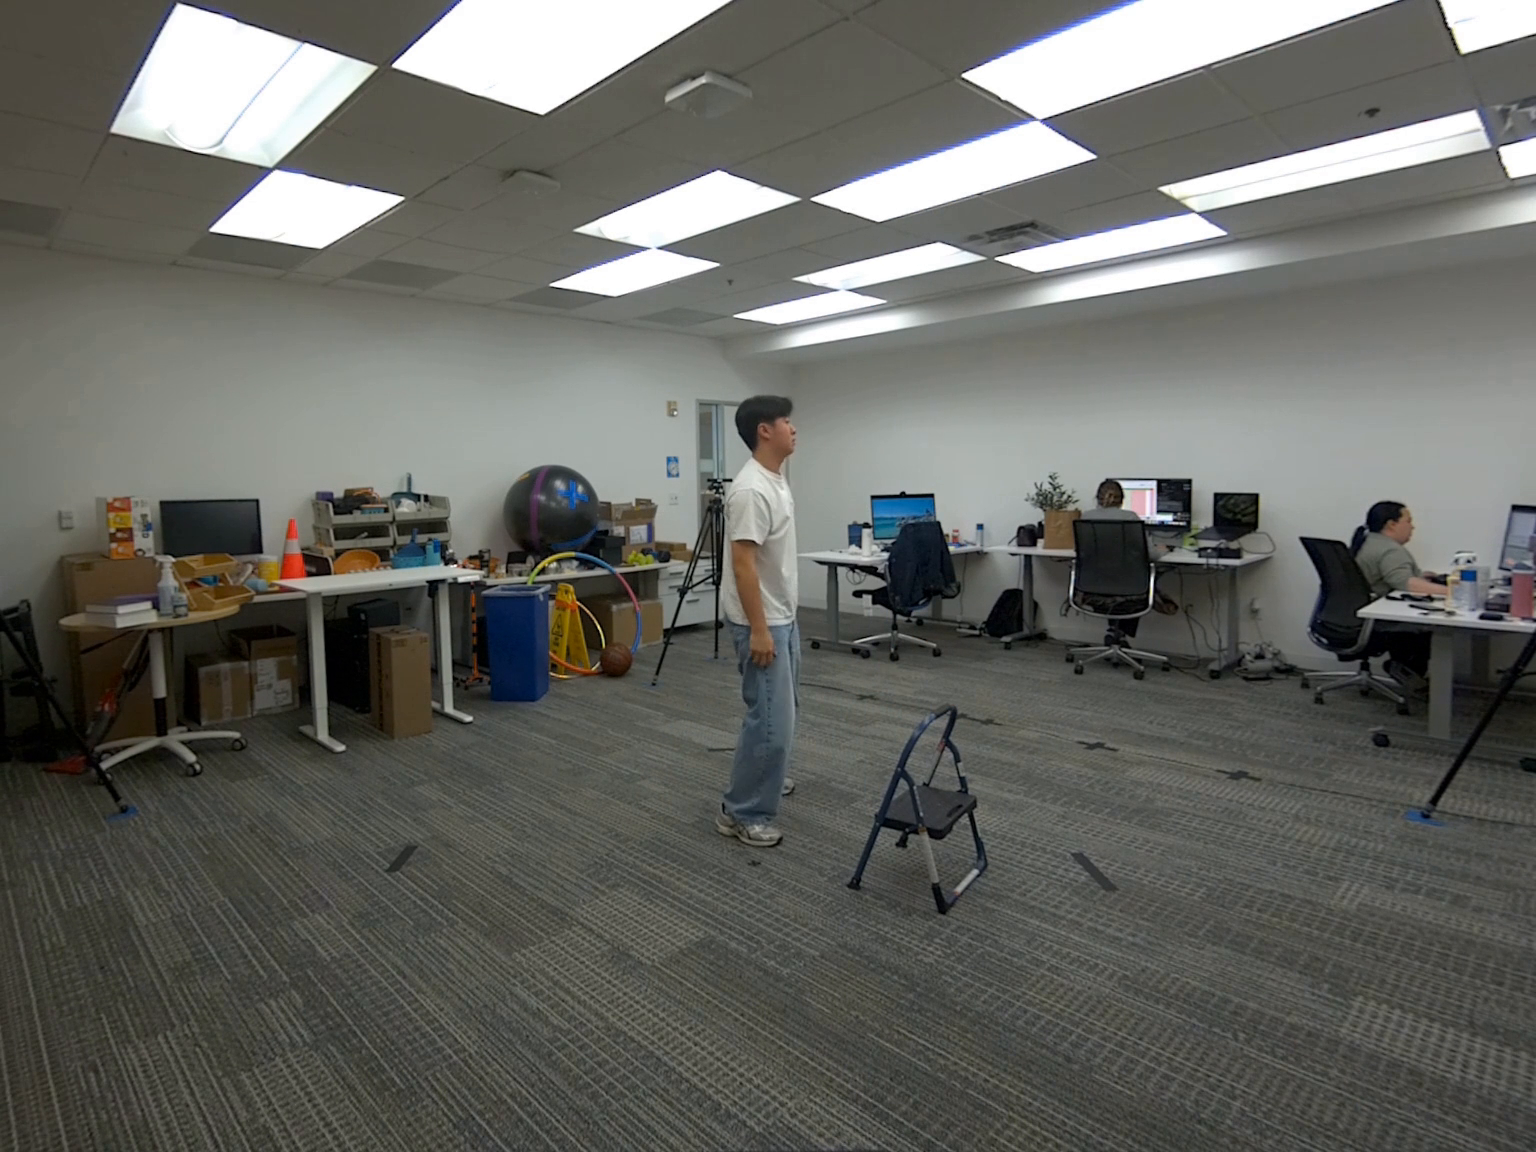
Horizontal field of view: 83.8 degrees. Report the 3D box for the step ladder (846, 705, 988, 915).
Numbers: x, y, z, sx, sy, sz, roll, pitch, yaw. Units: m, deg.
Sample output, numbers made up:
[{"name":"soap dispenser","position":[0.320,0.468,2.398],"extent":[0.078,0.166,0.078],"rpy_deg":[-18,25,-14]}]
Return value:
[{"name":"step ladder","position":[0.530,0.748,2.959],"extent":[0.359,0.604,0.420],"rpy_deg":[2,5,33]}]
